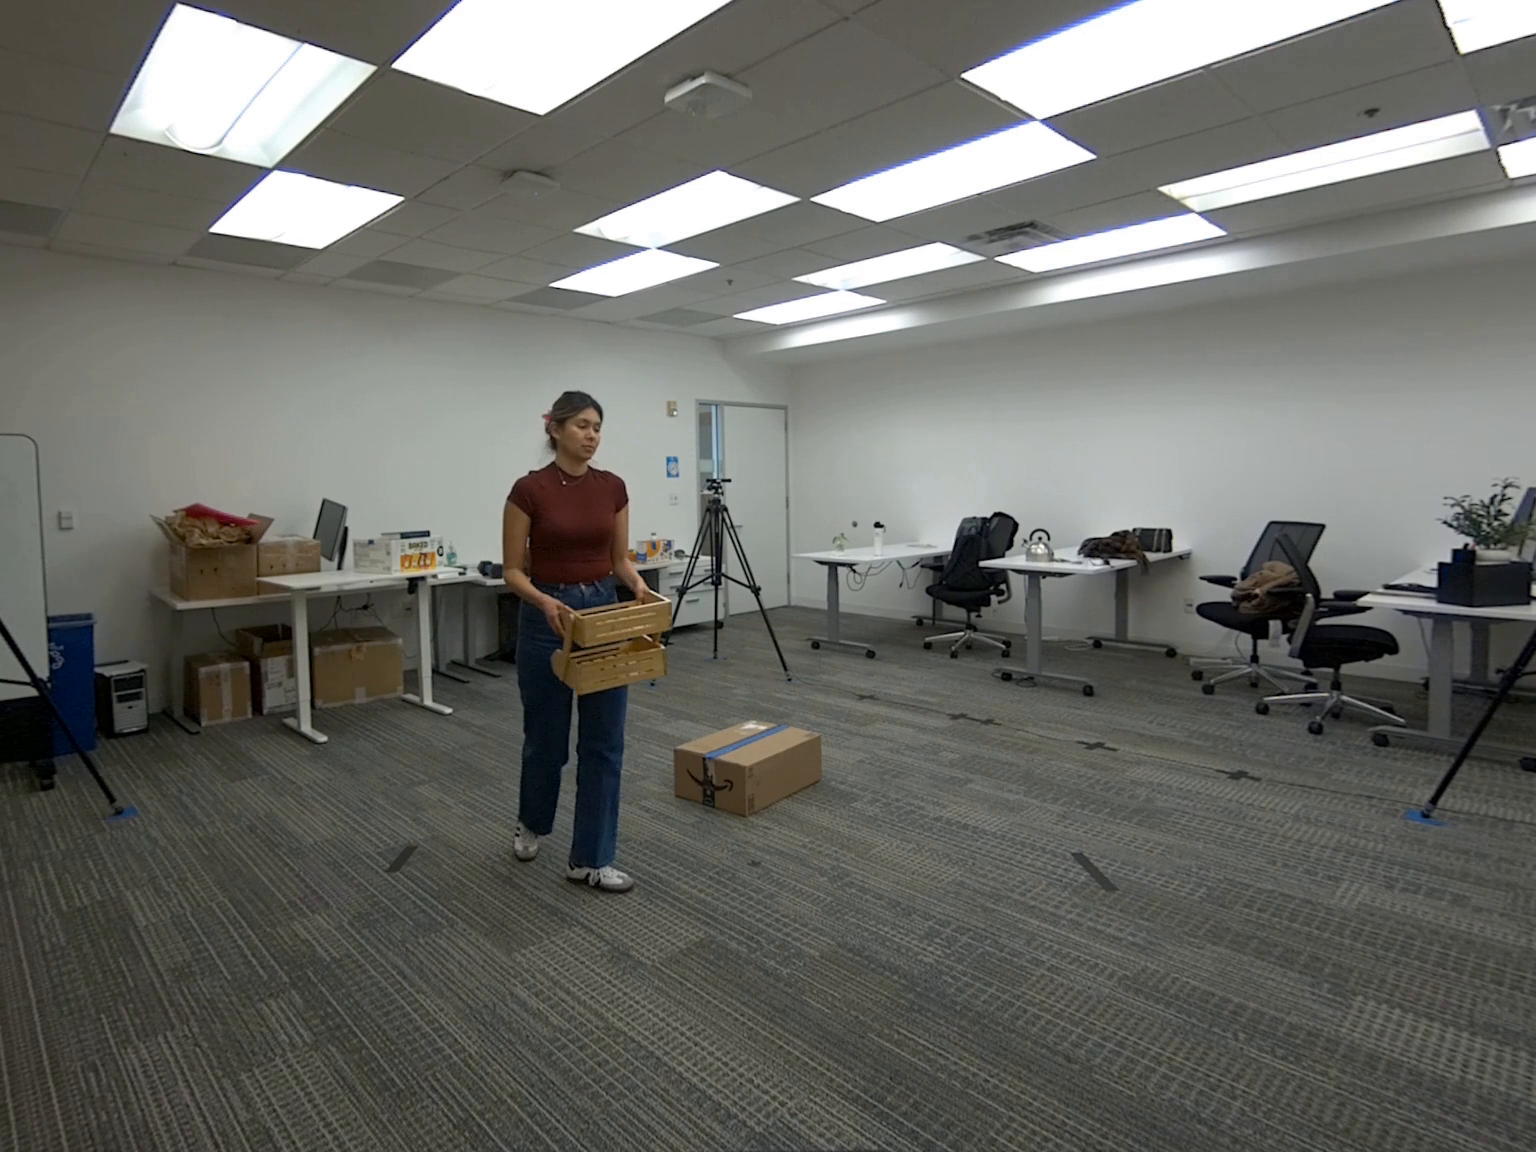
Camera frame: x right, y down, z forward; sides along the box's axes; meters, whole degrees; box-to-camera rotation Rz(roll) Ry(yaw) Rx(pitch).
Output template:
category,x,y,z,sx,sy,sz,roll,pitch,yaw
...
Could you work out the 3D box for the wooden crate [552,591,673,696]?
category,x,y,z,sx,sy,sz,roll,pitch,yaw
wooden crate,-0.509,0.194,2.742,0.317,0.270,0.312,-10,16,-31
